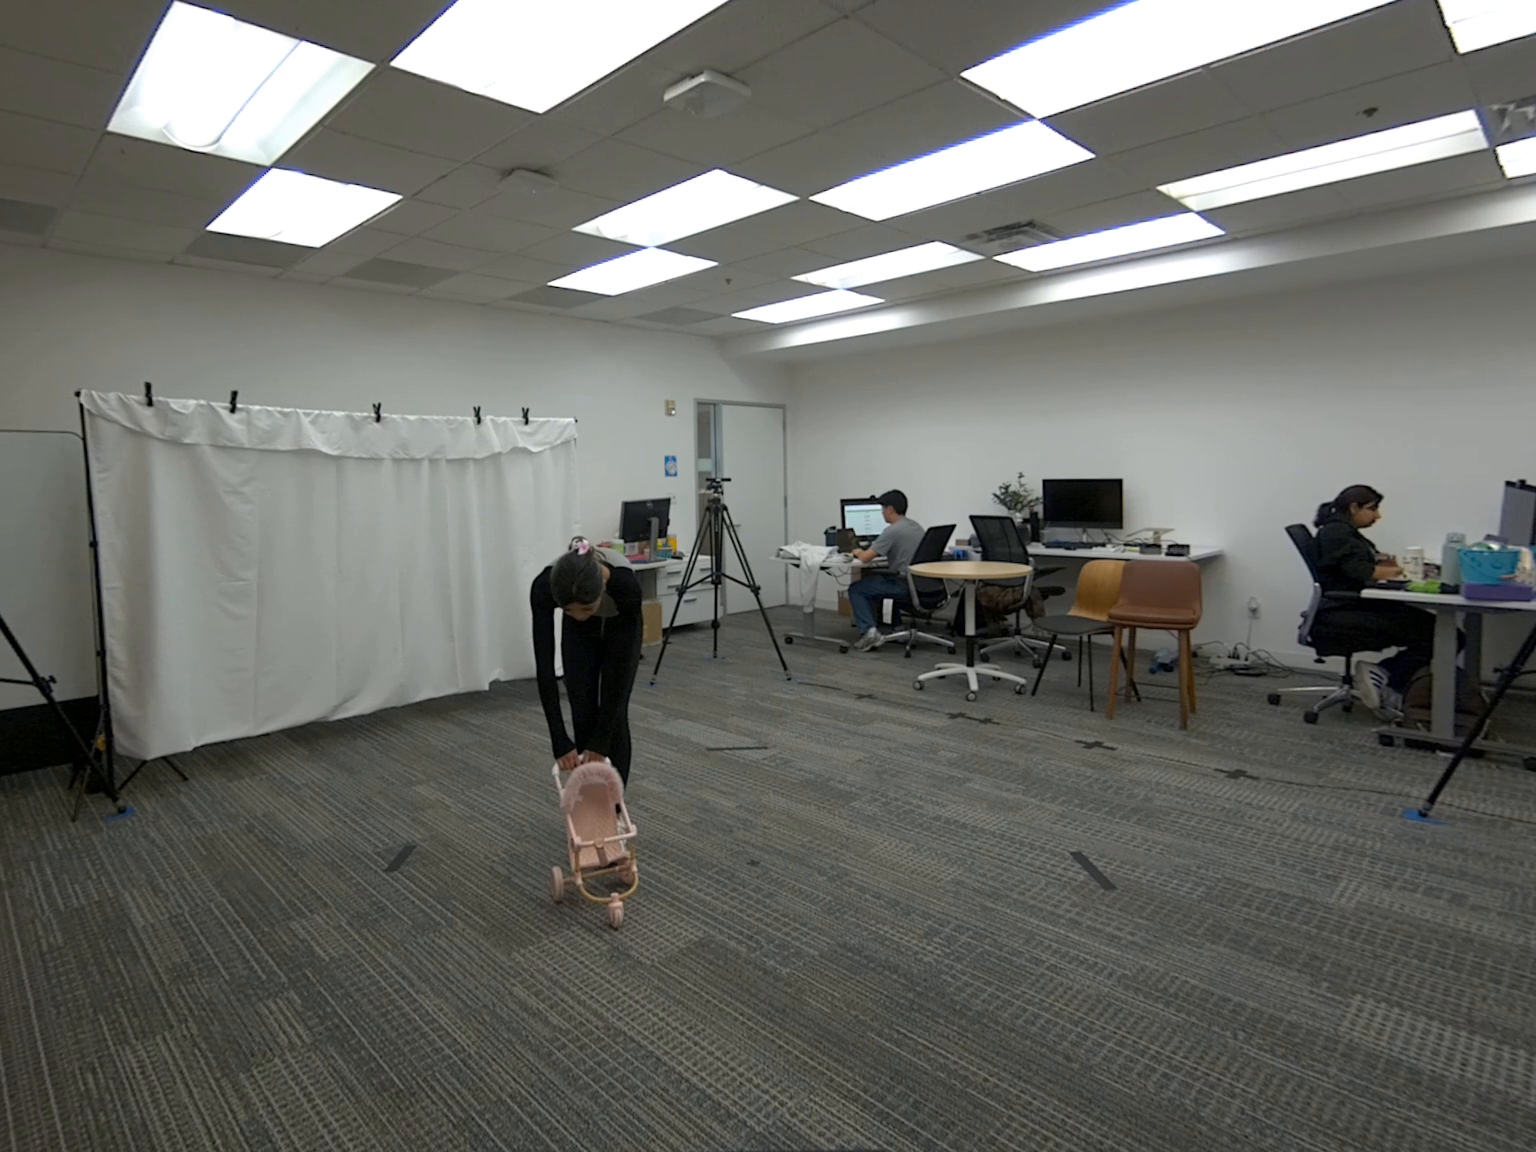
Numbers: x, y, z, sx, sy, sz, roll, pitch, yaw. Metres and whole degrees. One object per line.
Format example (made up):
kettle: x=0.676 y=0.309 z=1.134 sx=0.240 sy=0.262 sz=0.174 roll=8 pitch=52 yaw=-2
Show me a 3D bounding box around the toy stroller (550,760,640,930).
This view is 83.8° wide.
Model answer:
toy stroller: x=-0.567 y=0.857 z=2.842 sx=0.276 sy=0.541 sz=0.344 roll=-3 pitch=-12 yaw=-23
